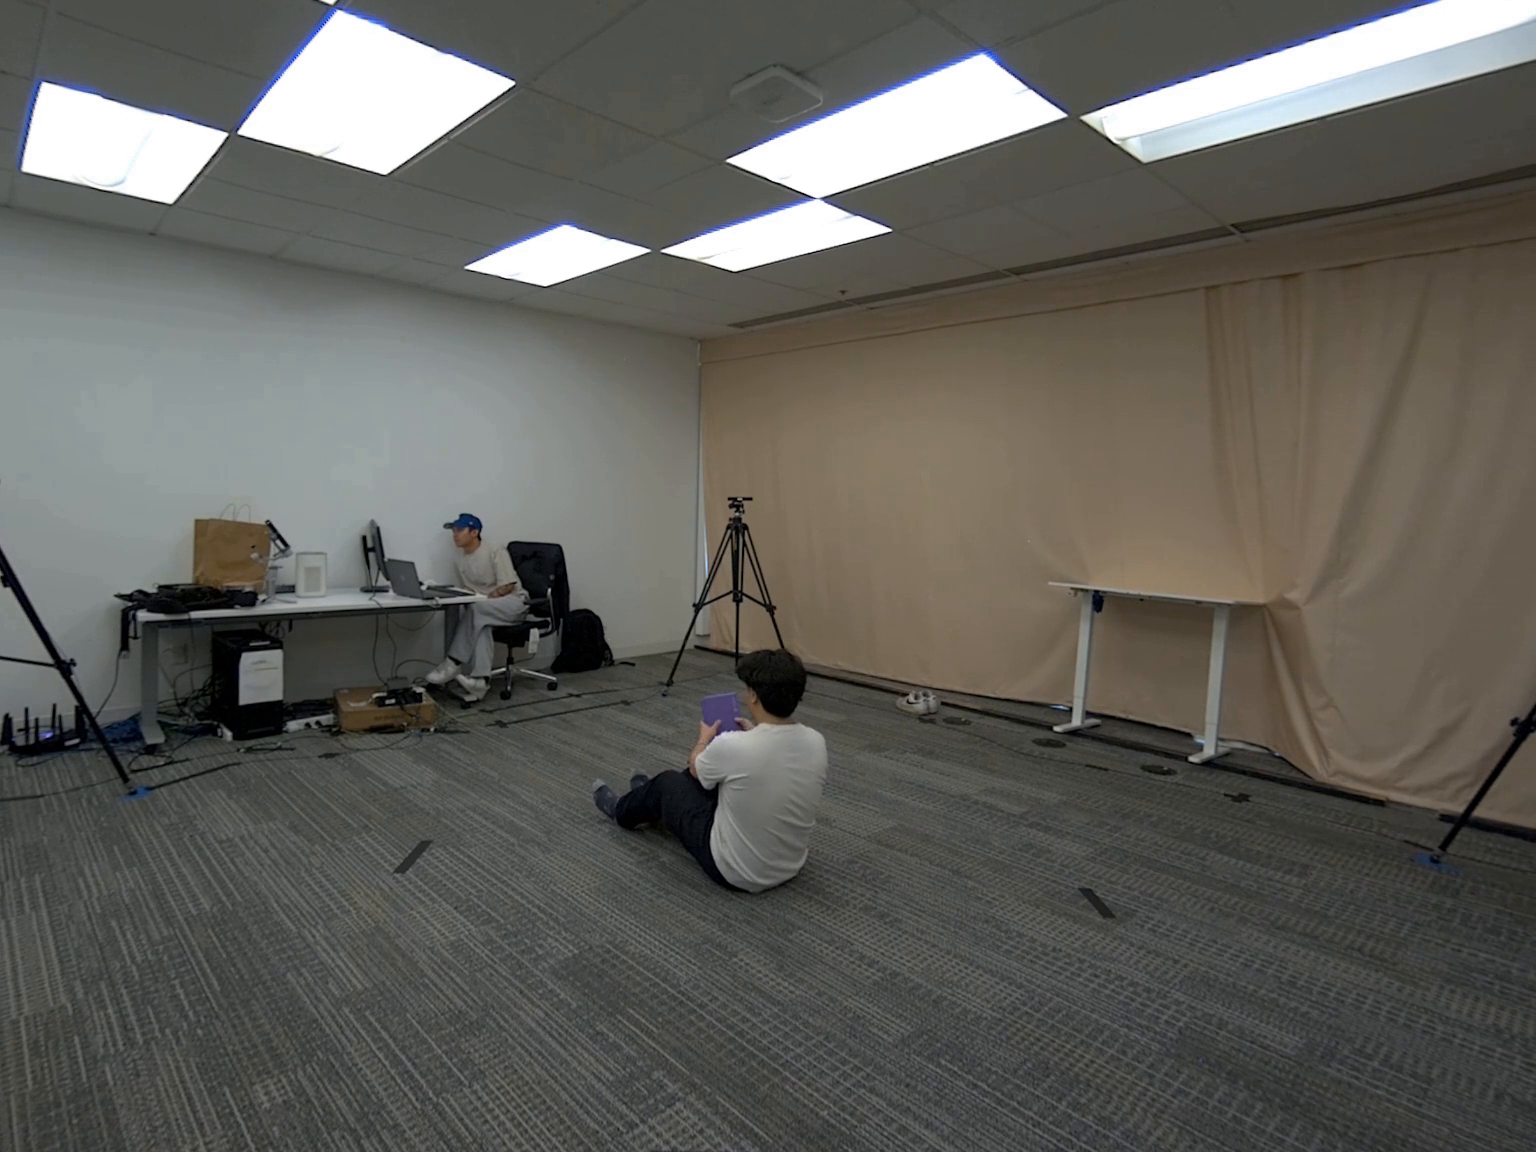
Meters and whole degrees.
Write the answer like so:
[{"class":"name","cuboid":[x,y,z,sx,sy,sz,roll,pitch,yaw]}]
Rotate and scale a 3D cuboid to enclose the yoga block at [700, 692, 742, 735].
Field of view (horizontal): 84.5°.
[{"class":"yoga block","cuboid":[-0.187,0.617,3.509,0.147,0.232,0.076,-6,-17,-22]}]
